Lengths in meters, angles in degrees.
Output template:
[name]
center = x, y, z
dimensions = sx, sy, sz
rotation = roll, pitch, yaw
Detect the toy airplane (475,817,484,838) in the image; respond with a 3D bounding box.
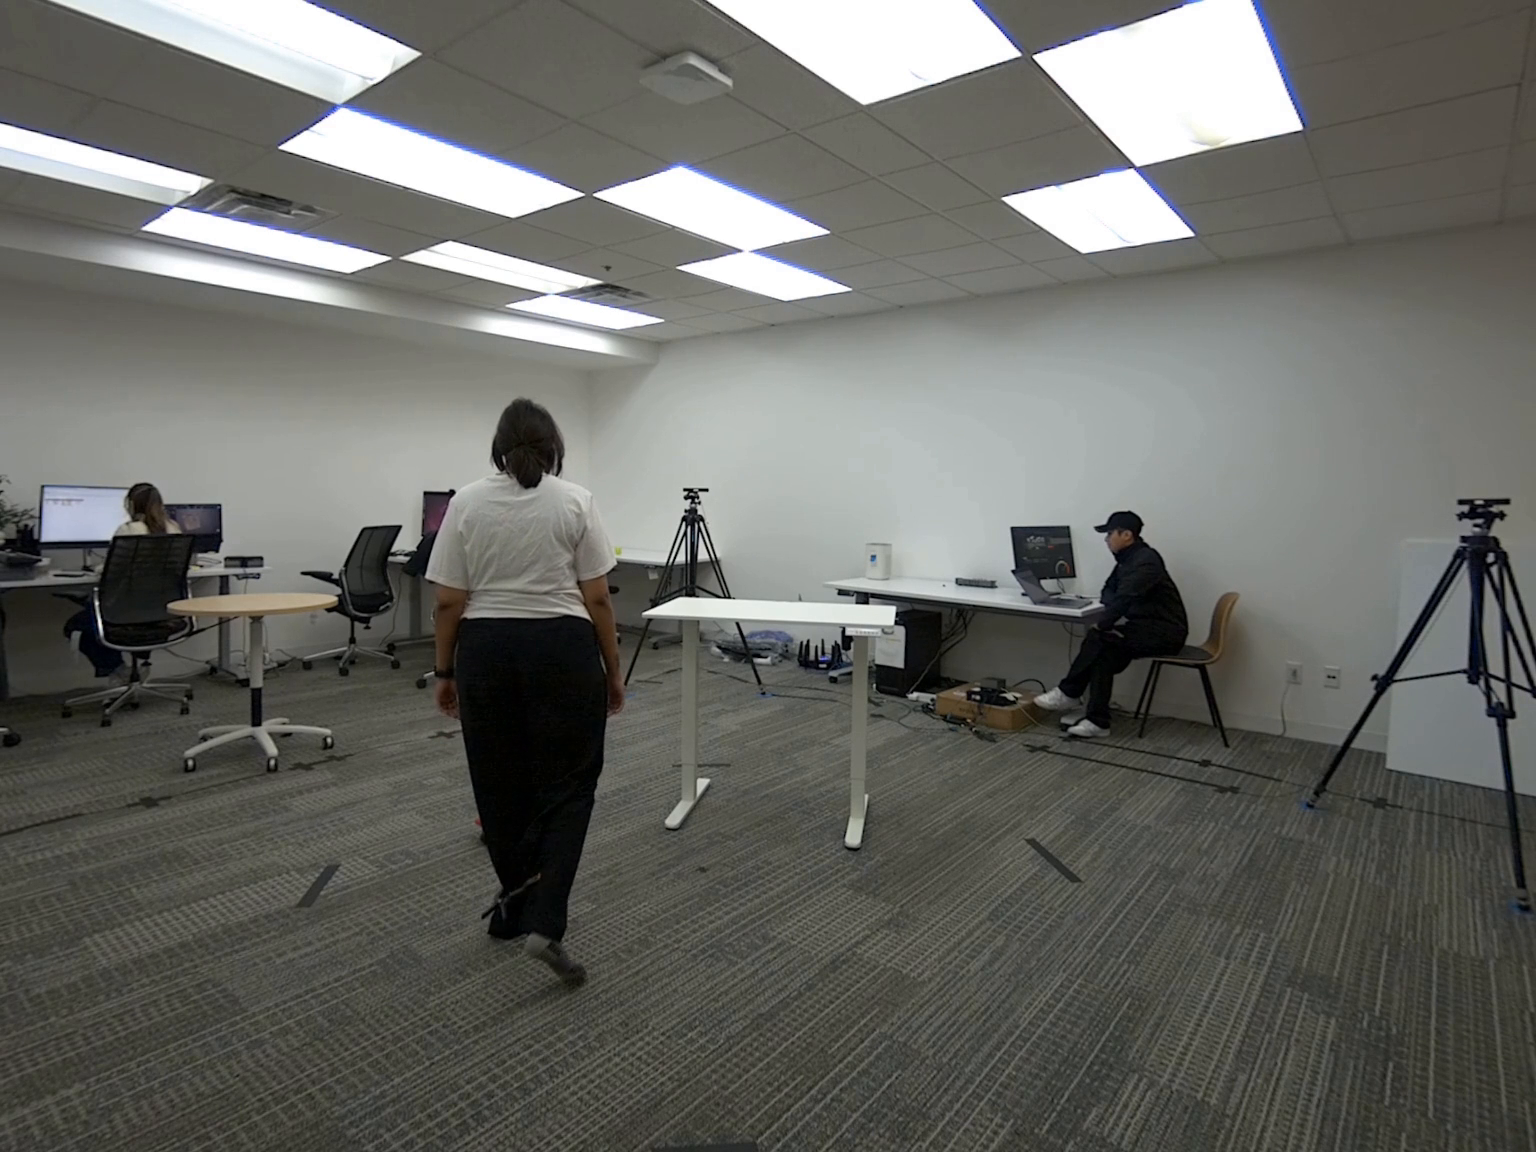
[toy airplane]
center = -1.036, 0.948, 3.356
dimensions = 0.252, 0.156, 0.259
rotation = 0, 4, 1
